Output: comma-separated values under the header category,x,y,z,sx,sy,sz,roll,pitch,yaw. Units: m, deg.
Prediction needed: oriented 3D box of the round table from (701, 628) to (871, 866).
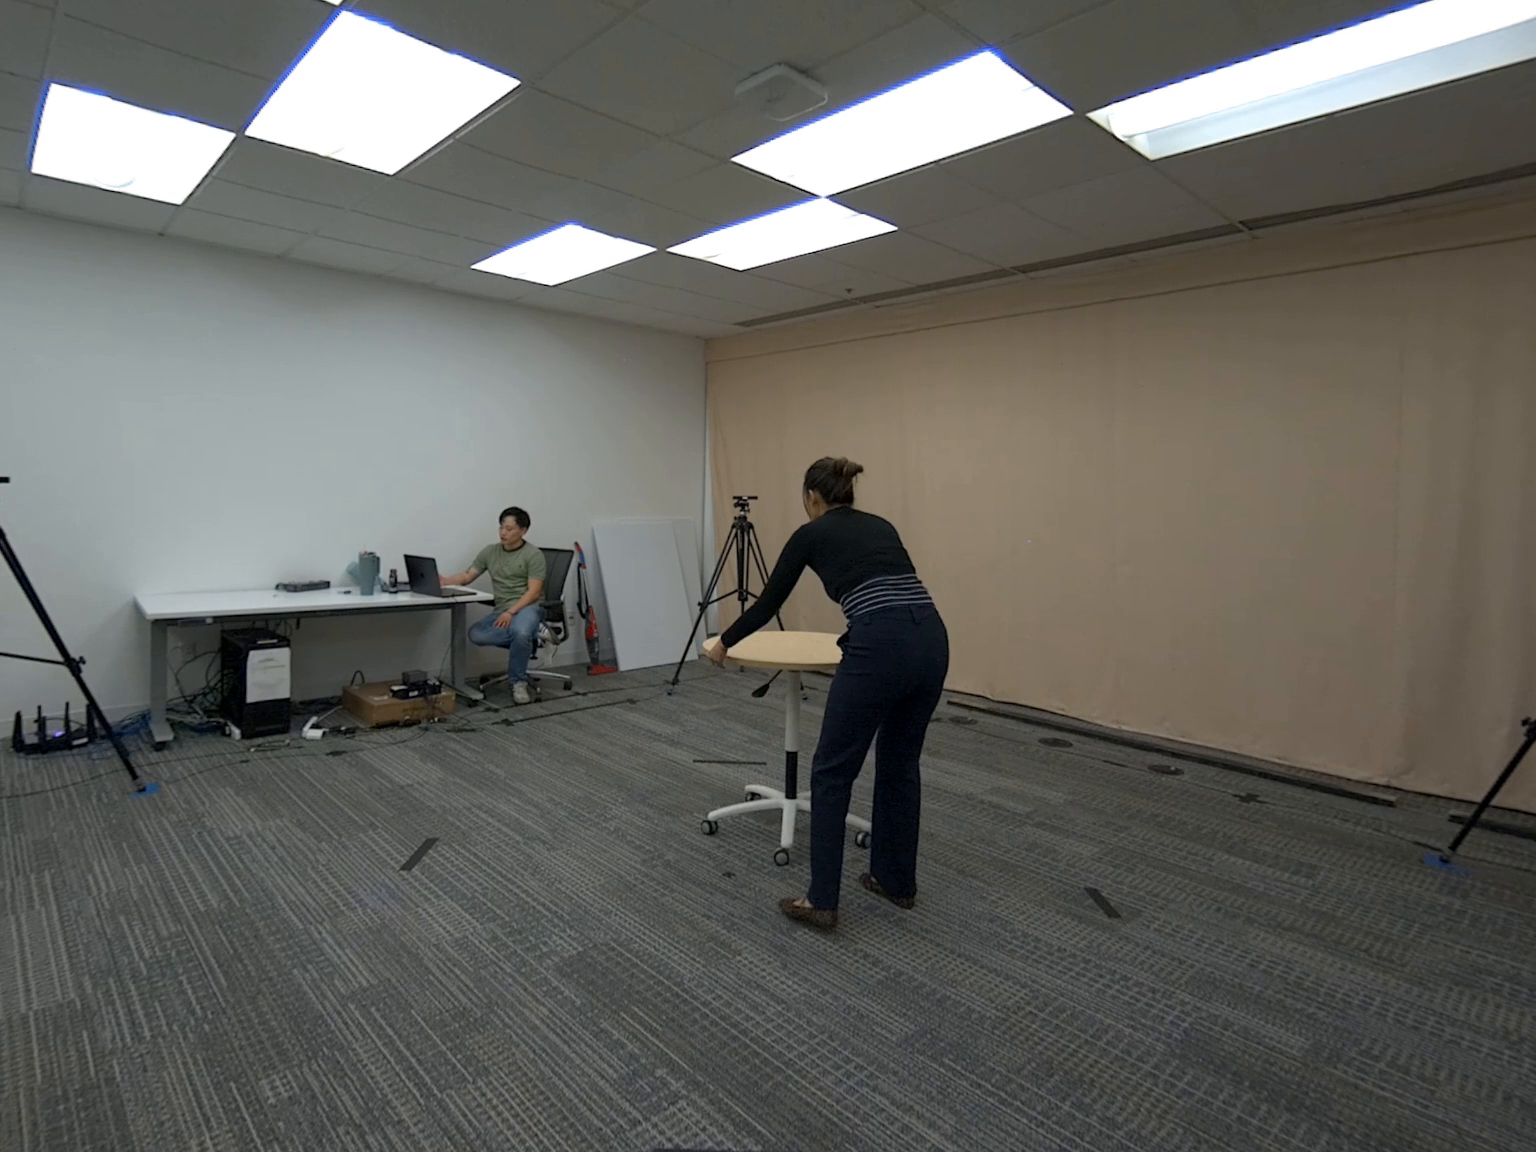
category,x,y,z,sx,sy,sz,roll,pitch,yaw
round table,0.079,0.682,3.518,0.763,0.792,0.766,1,3,-1
